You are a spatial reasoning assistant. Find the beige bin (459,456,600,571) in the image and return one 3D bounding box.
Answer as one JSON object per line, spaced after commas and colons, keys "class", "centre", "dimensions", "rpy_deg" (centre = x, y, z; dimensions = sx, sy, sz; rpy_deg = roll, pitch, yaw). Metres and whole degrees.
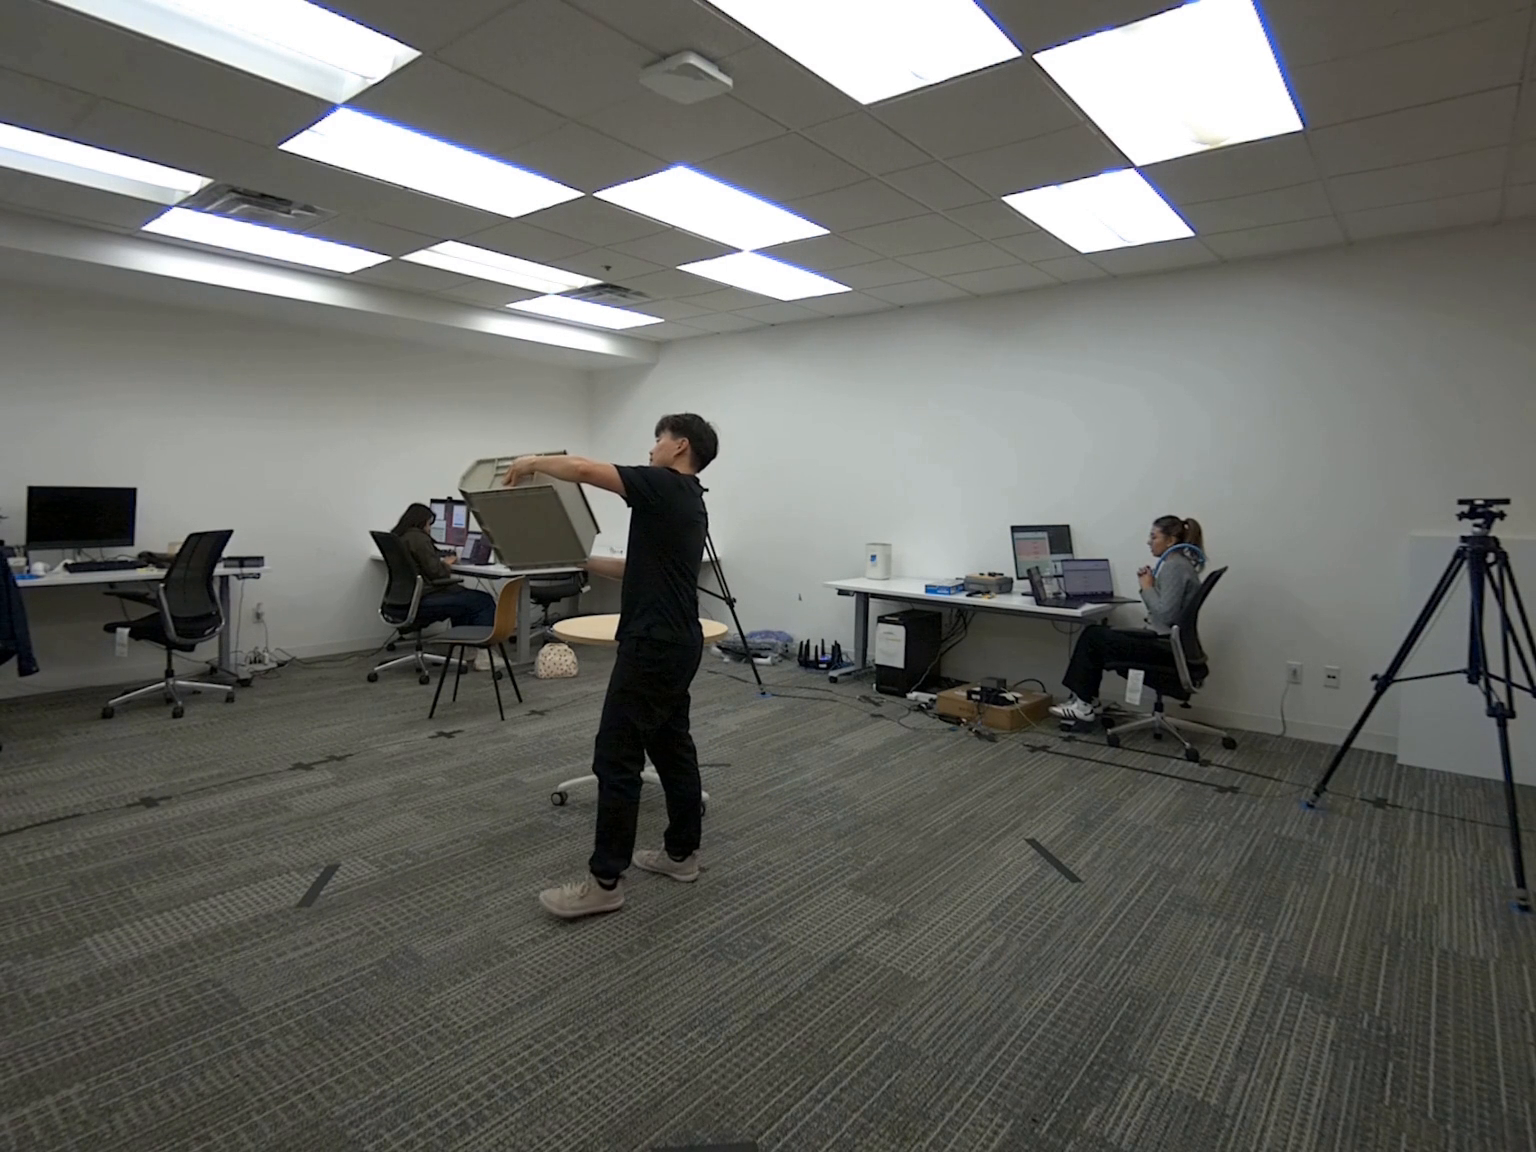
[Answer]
{"class": "beige bin", "centre": [-0.885, -0.231, 3.104], "dimensions": [0.382, 0.407, 0.193], "rpy_deg": [-3, 46, 12]}
